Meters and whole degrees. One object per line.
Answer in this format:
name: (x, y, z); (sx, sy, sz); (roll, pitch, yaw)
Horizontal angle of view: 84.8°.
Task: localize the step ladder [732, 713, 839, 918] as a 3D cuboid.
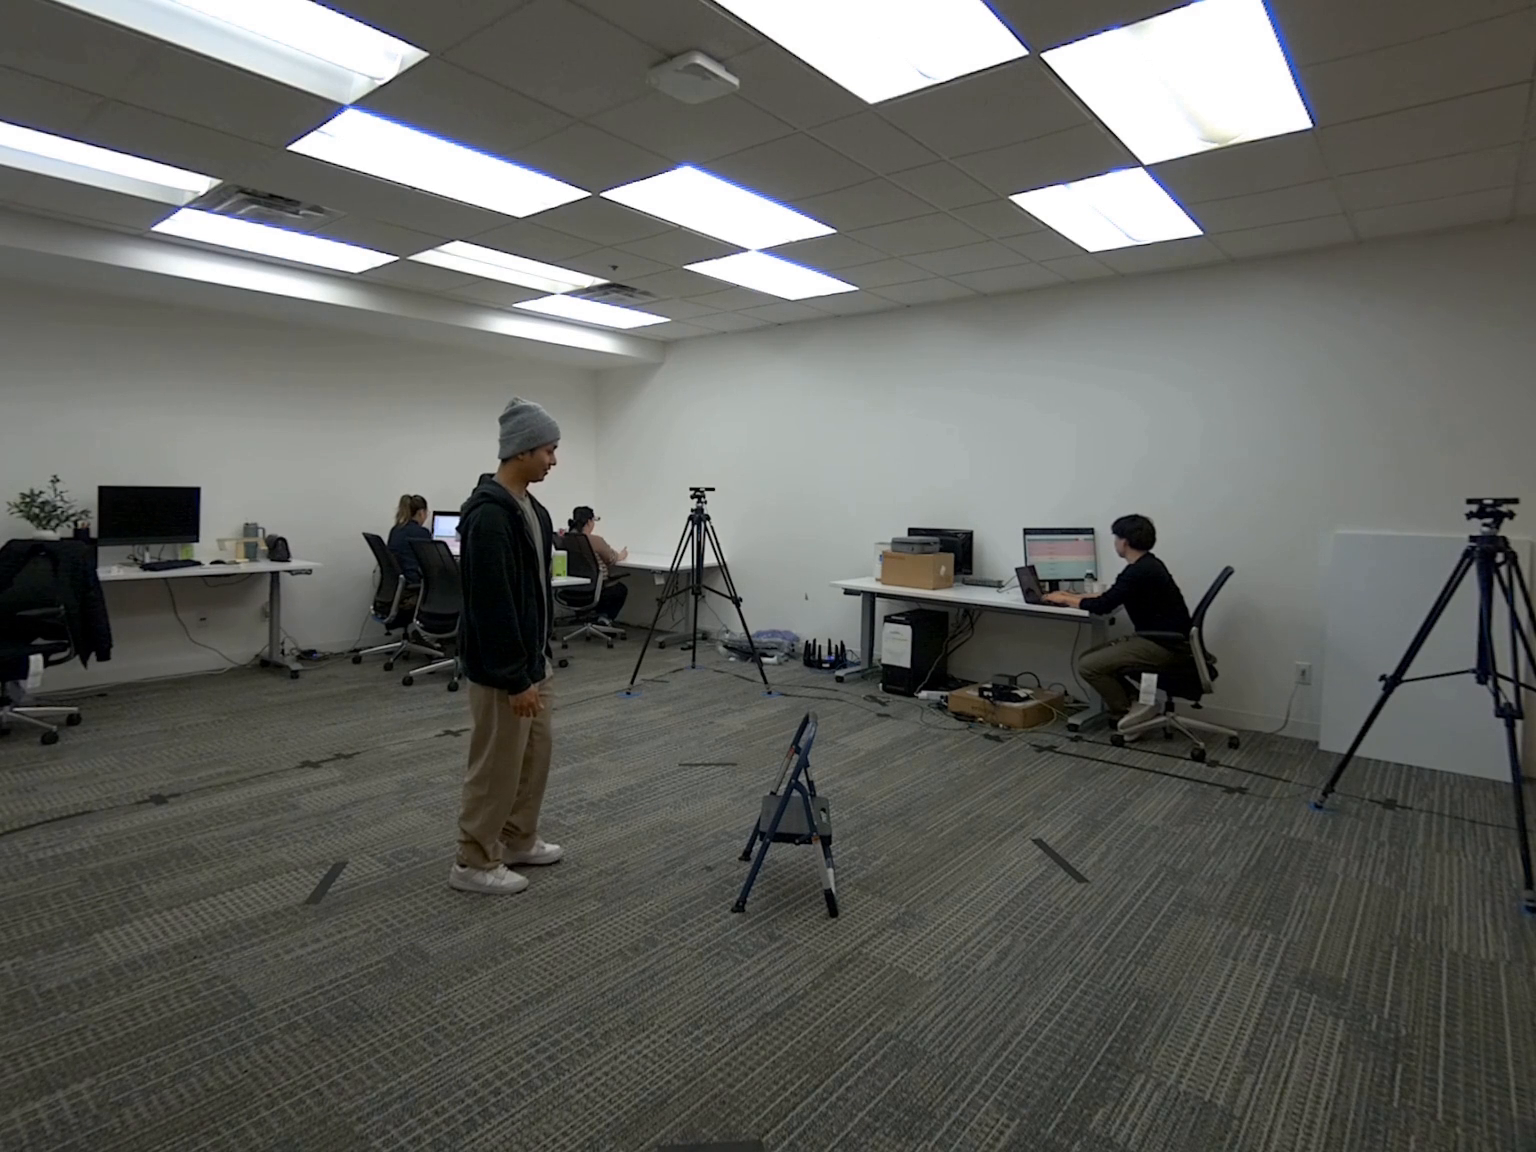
step ladder: (0.065, 0.786, 2.963); (0.351, 0.605, 0.430); (1, 3, 3)
